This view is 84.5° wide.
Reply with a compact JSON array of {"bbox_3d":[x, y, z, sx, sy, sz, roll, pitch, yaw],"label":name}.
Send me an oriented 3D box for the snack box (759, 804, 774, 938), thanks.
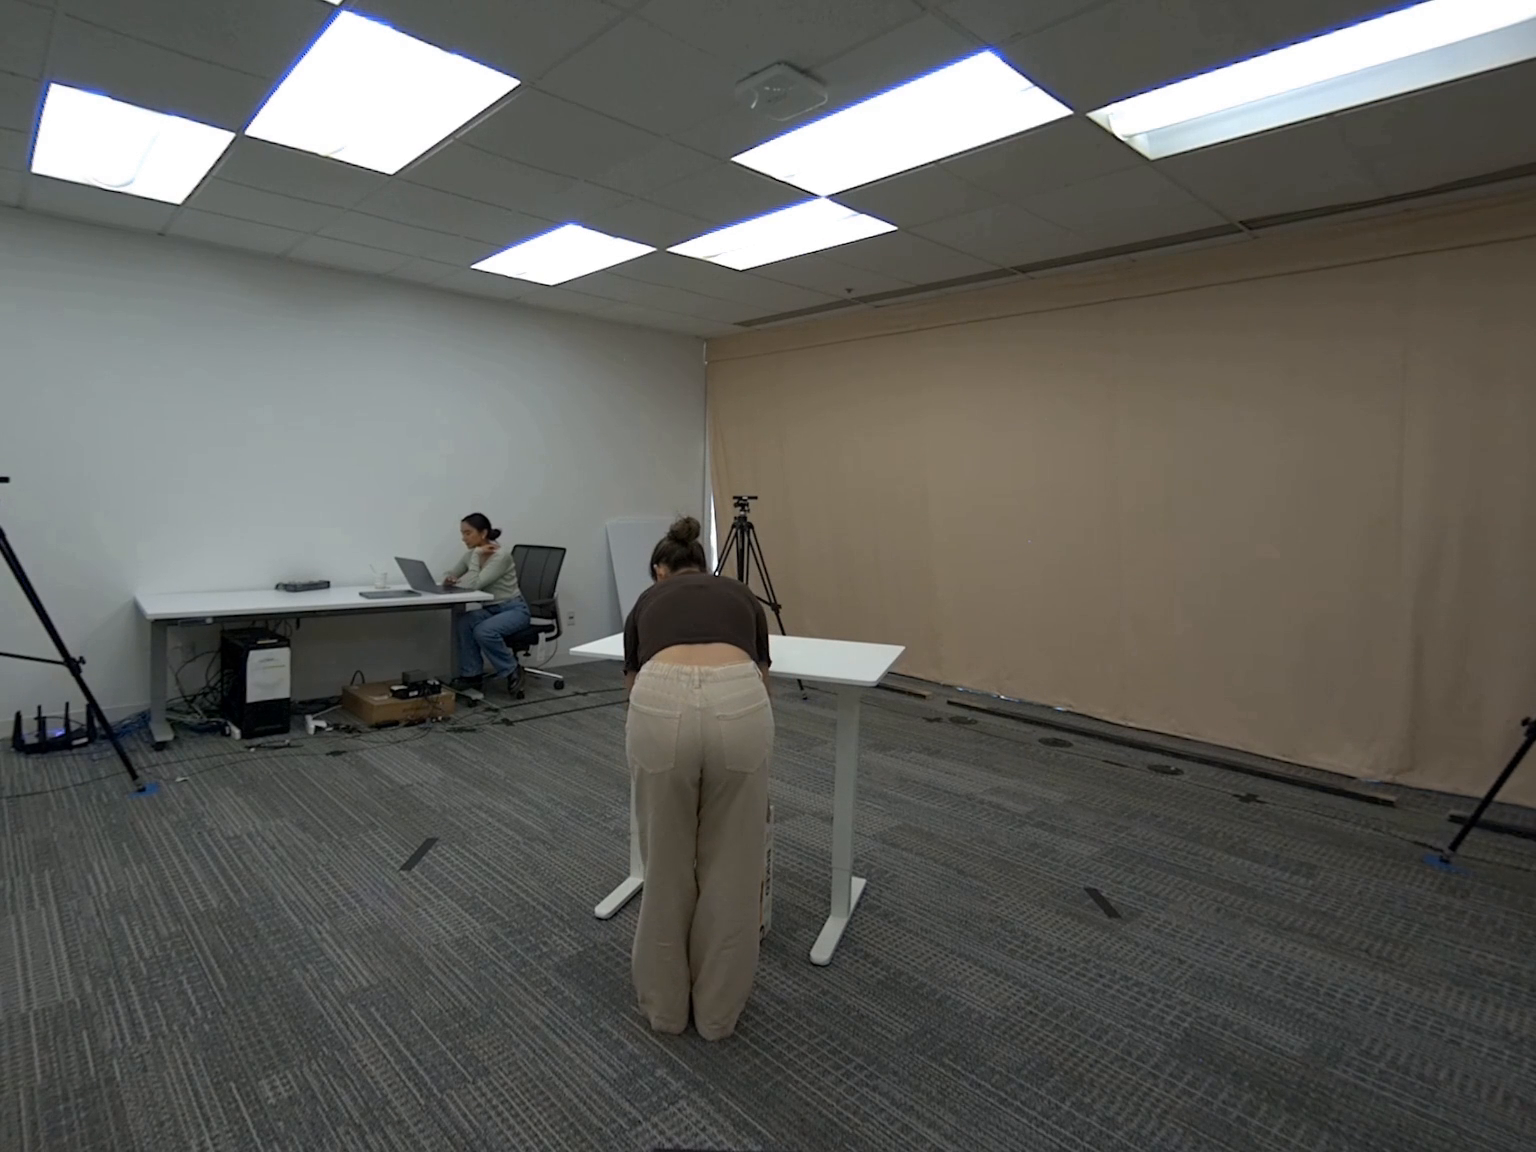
[{"bbox_3d":[-0.179,0.942,2.665,0.345,0.404,0.203,3,2,19],"label":"snack box"}]
